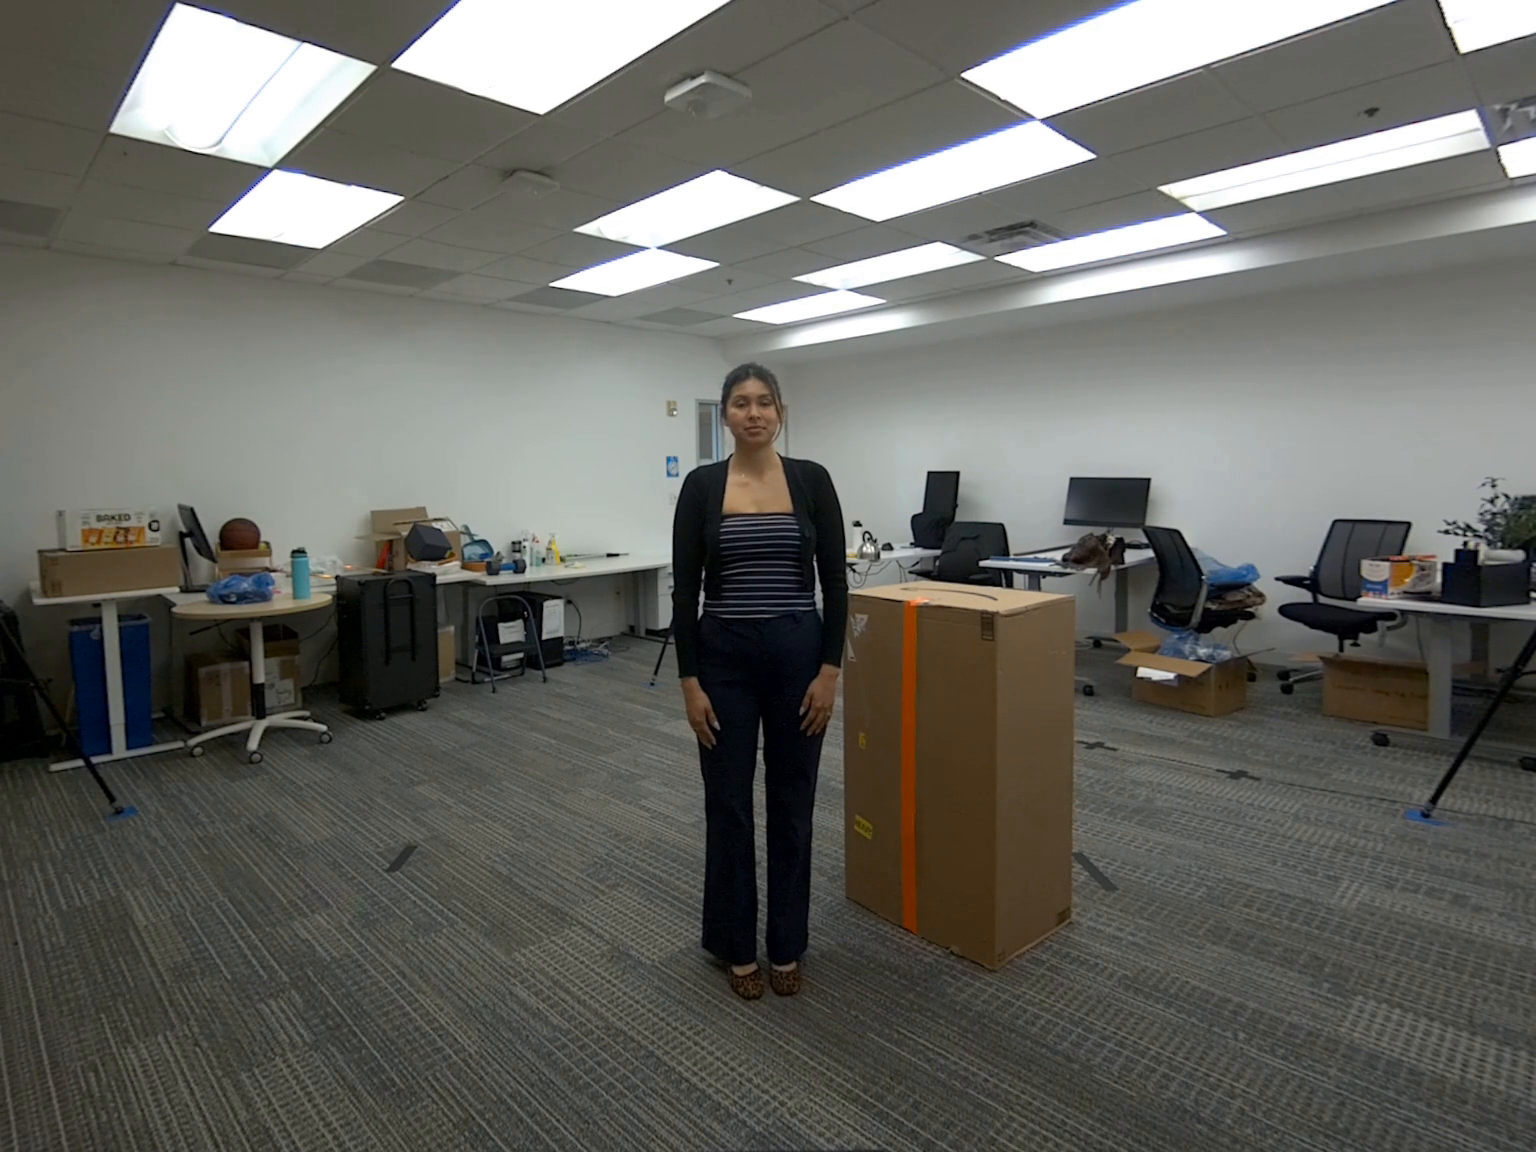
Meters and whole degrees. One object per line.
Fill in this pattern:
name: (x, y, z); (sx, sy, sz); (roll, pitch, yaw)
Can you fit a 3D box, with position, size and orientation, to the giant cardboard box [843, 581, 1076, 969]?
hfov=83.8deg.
giant cardboard box: (0.595, 0.565, 2.712); (0.415, 1.022, 0.595); (-5, 5, -40)
